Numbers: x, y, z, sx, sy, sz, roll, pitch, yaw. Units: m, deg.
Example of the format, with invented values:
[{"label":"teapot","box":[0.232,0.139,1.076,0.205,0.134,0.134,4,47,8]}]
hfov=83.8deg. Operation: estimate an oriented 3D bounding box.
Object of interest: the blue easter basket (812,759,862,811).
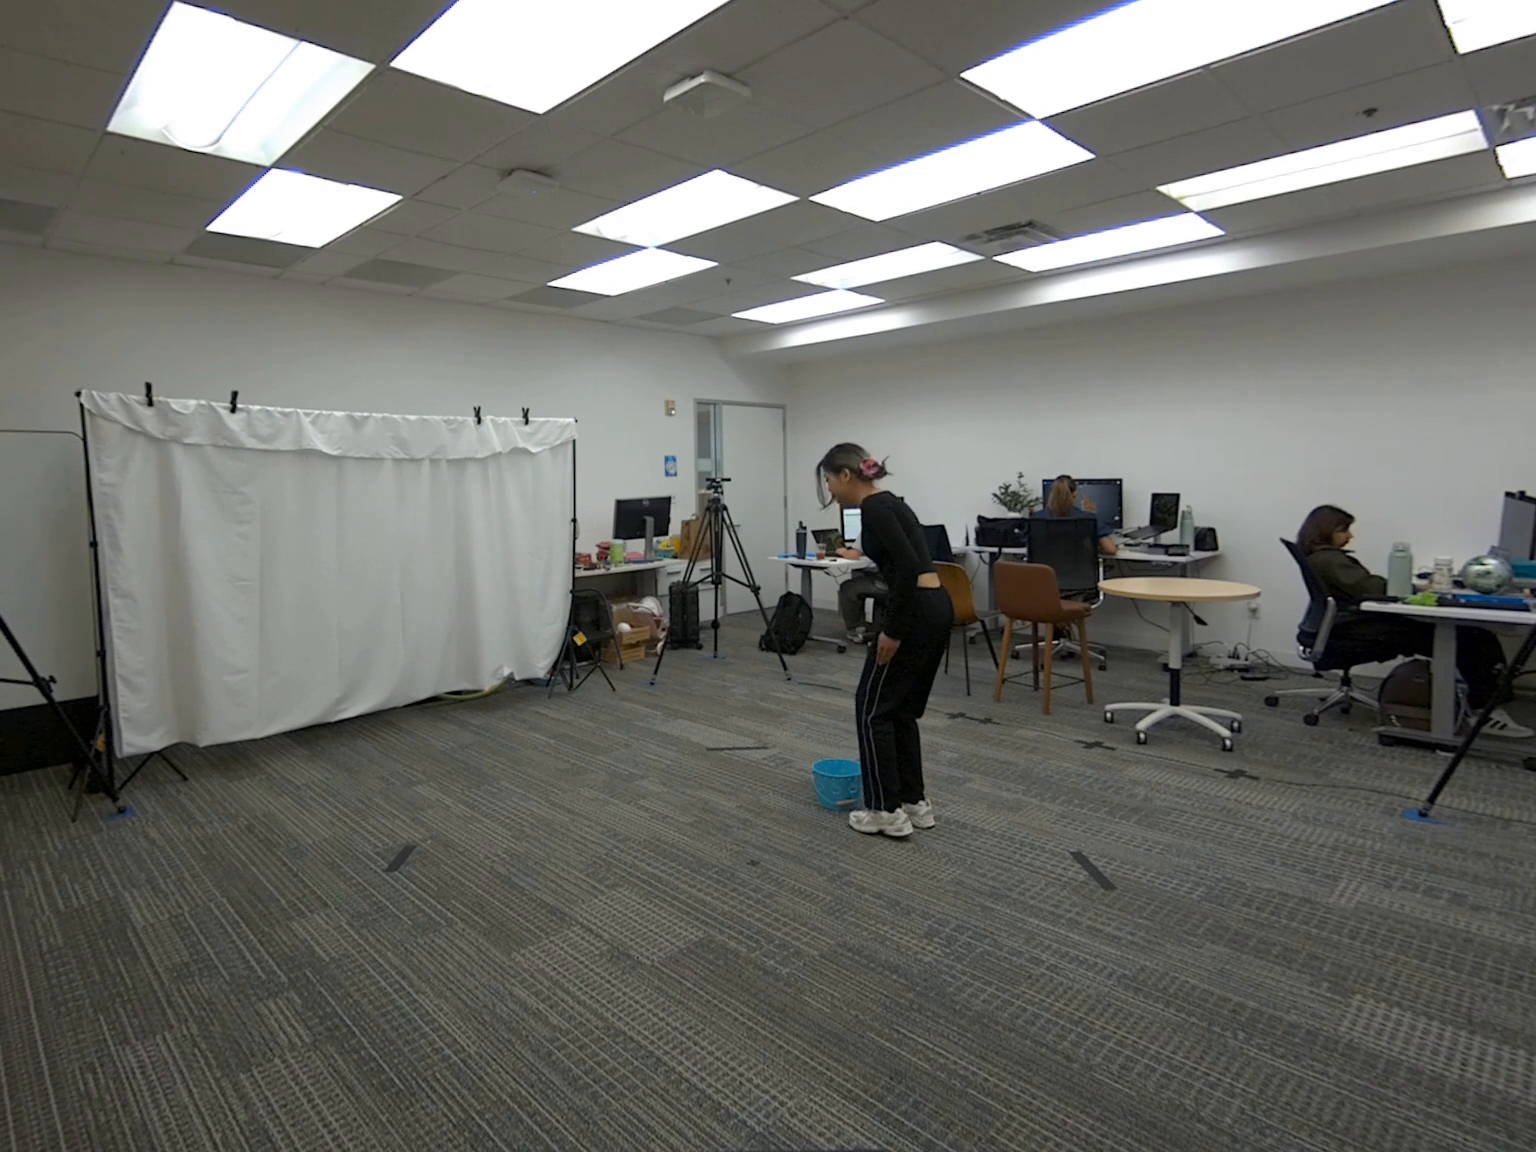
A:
[{"label":"blue easter basket","box":[0.312,0.891,3.667,0.243,0.155,0.245,-1,5,-2]}]
